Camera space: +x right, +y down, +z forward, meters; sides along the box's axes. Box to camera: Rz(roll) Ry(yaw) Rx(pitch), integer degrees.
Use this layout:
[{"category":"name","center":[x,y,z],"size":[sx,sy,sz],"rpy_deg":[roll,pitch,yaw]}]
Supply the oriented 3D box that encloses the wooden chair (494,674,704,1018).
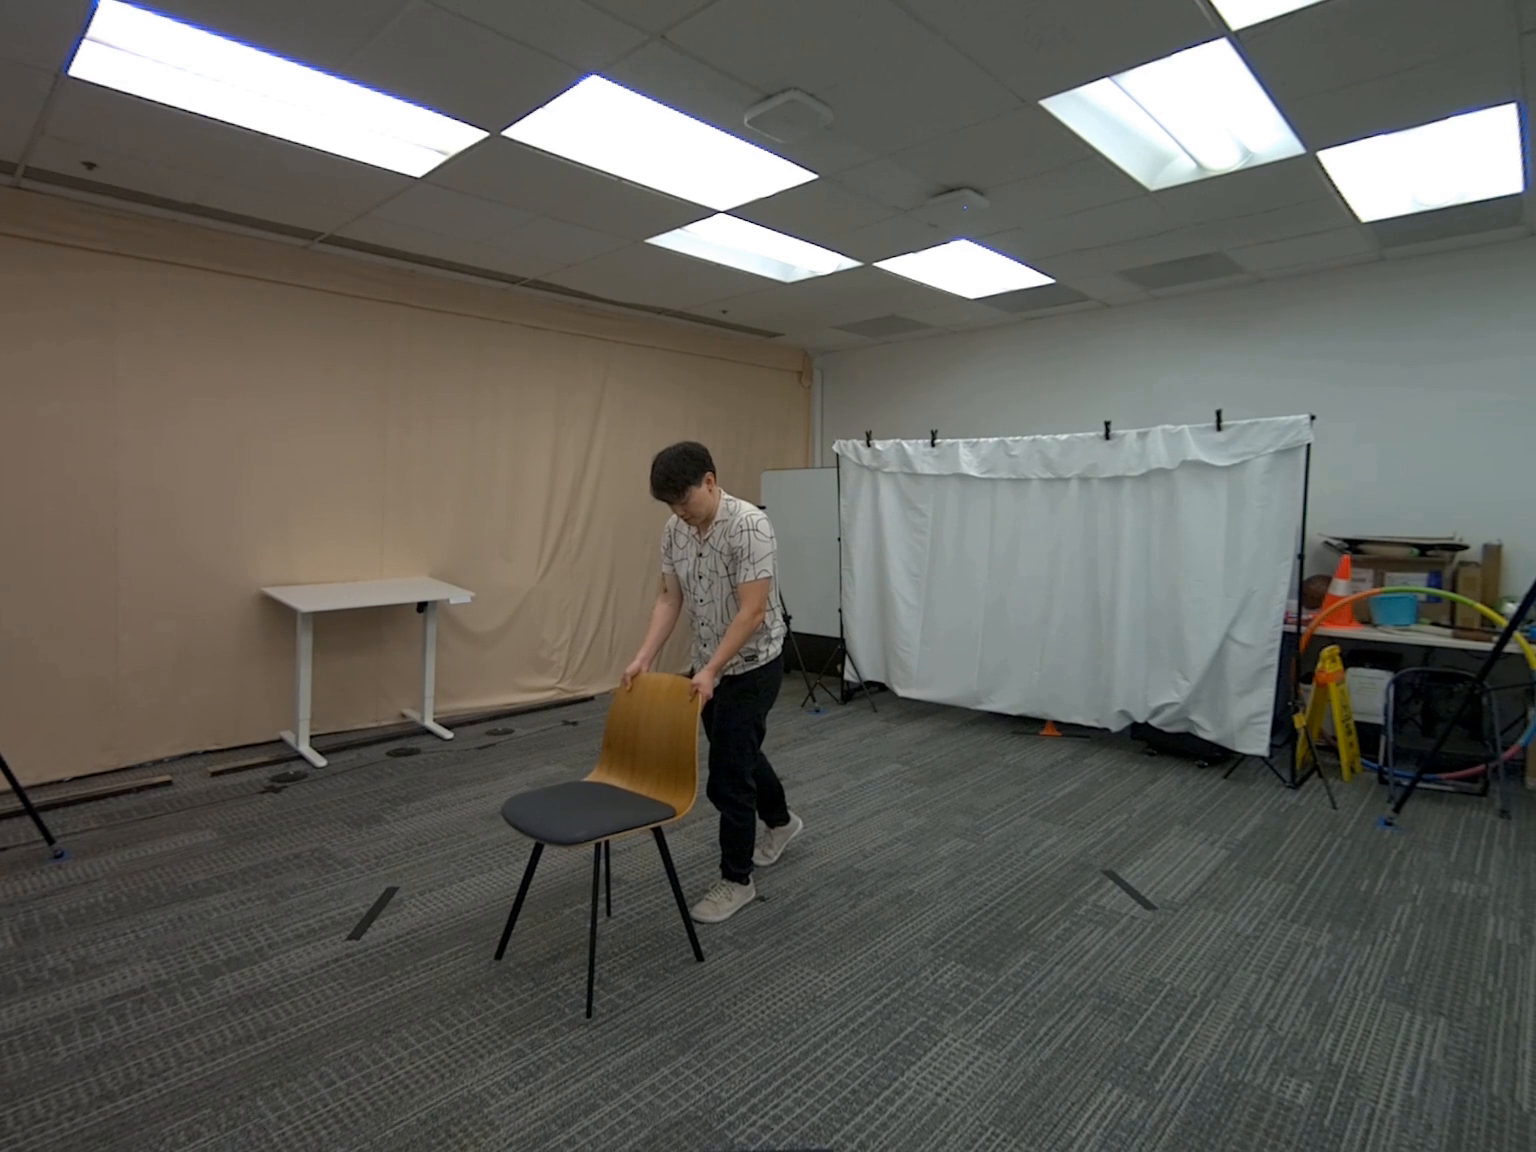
[{"category":"wooden chair","center":[-0.498,0.744,2.541],"size":[0.494,0.879,0.505],"rpy_deg":[3,-4,41]}]
